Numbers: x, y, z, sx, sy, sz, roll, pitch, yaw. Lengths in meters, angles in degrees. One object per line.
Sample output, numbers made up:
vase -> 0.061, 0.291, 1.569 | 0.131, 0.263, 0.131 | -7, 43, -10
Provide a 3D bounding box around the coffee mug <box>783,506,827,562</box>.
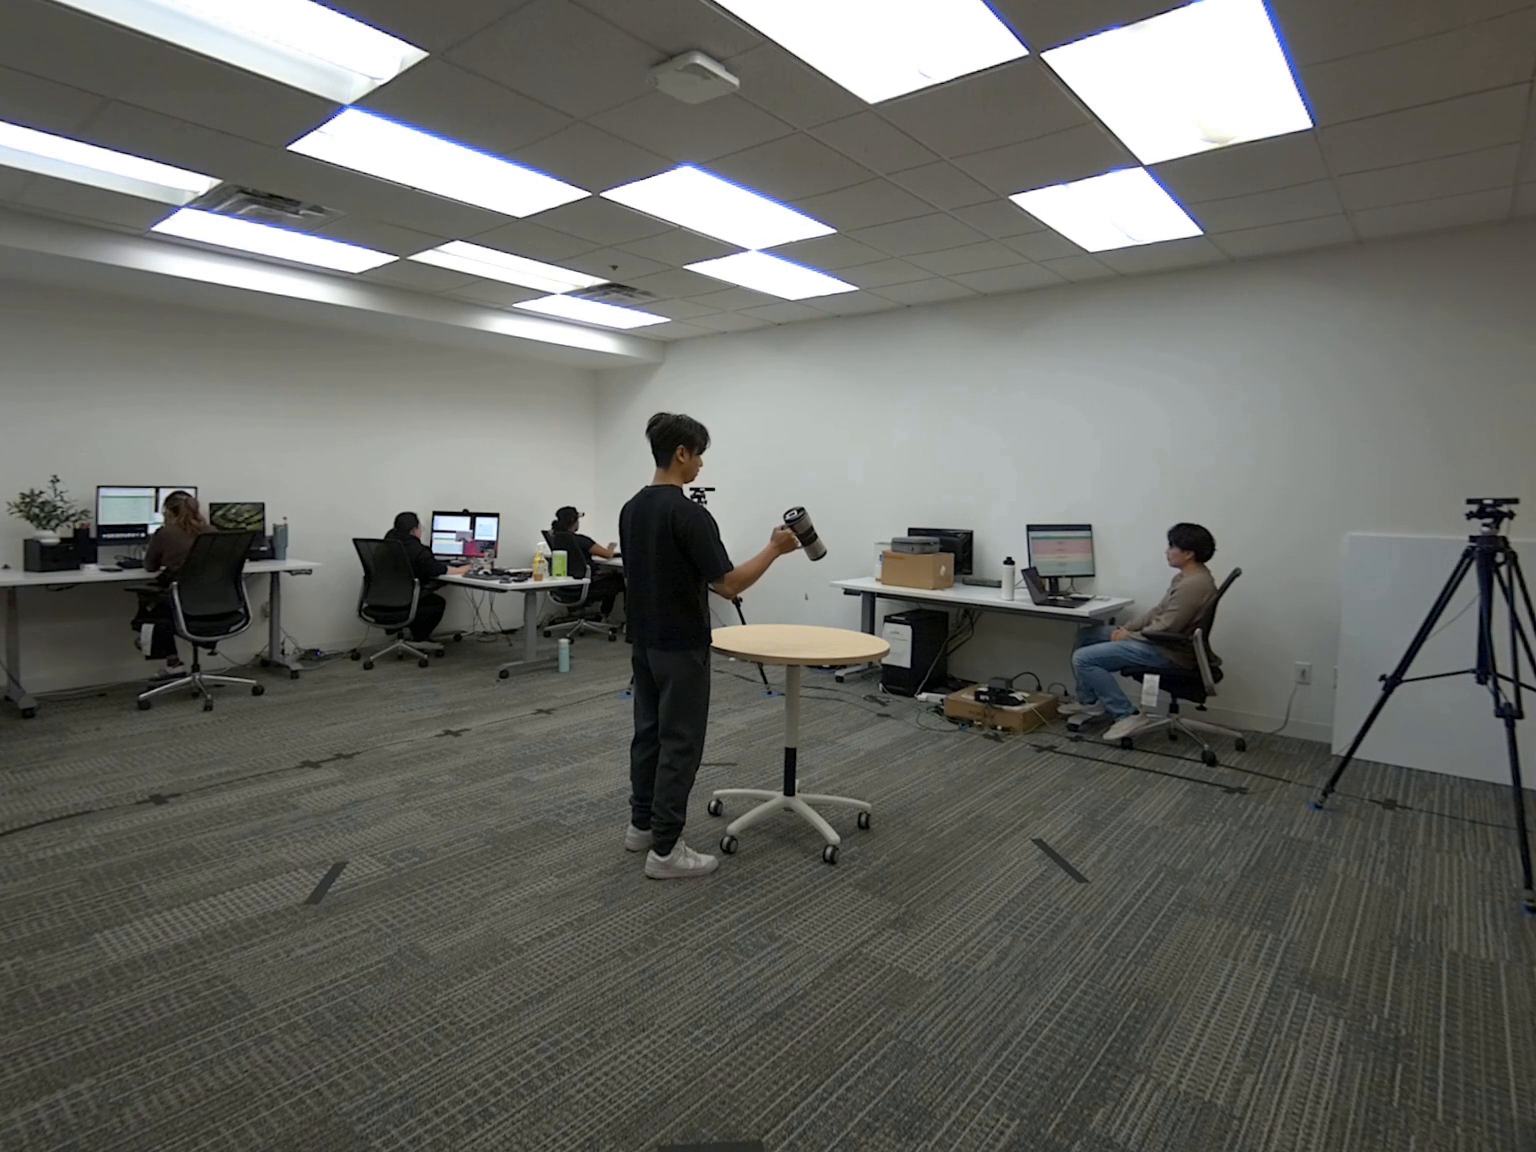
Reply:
coffee mug -> 0.122, -0.153, 3.117 | 0.088, 0.197, 0.126 | -44, 27, -23
